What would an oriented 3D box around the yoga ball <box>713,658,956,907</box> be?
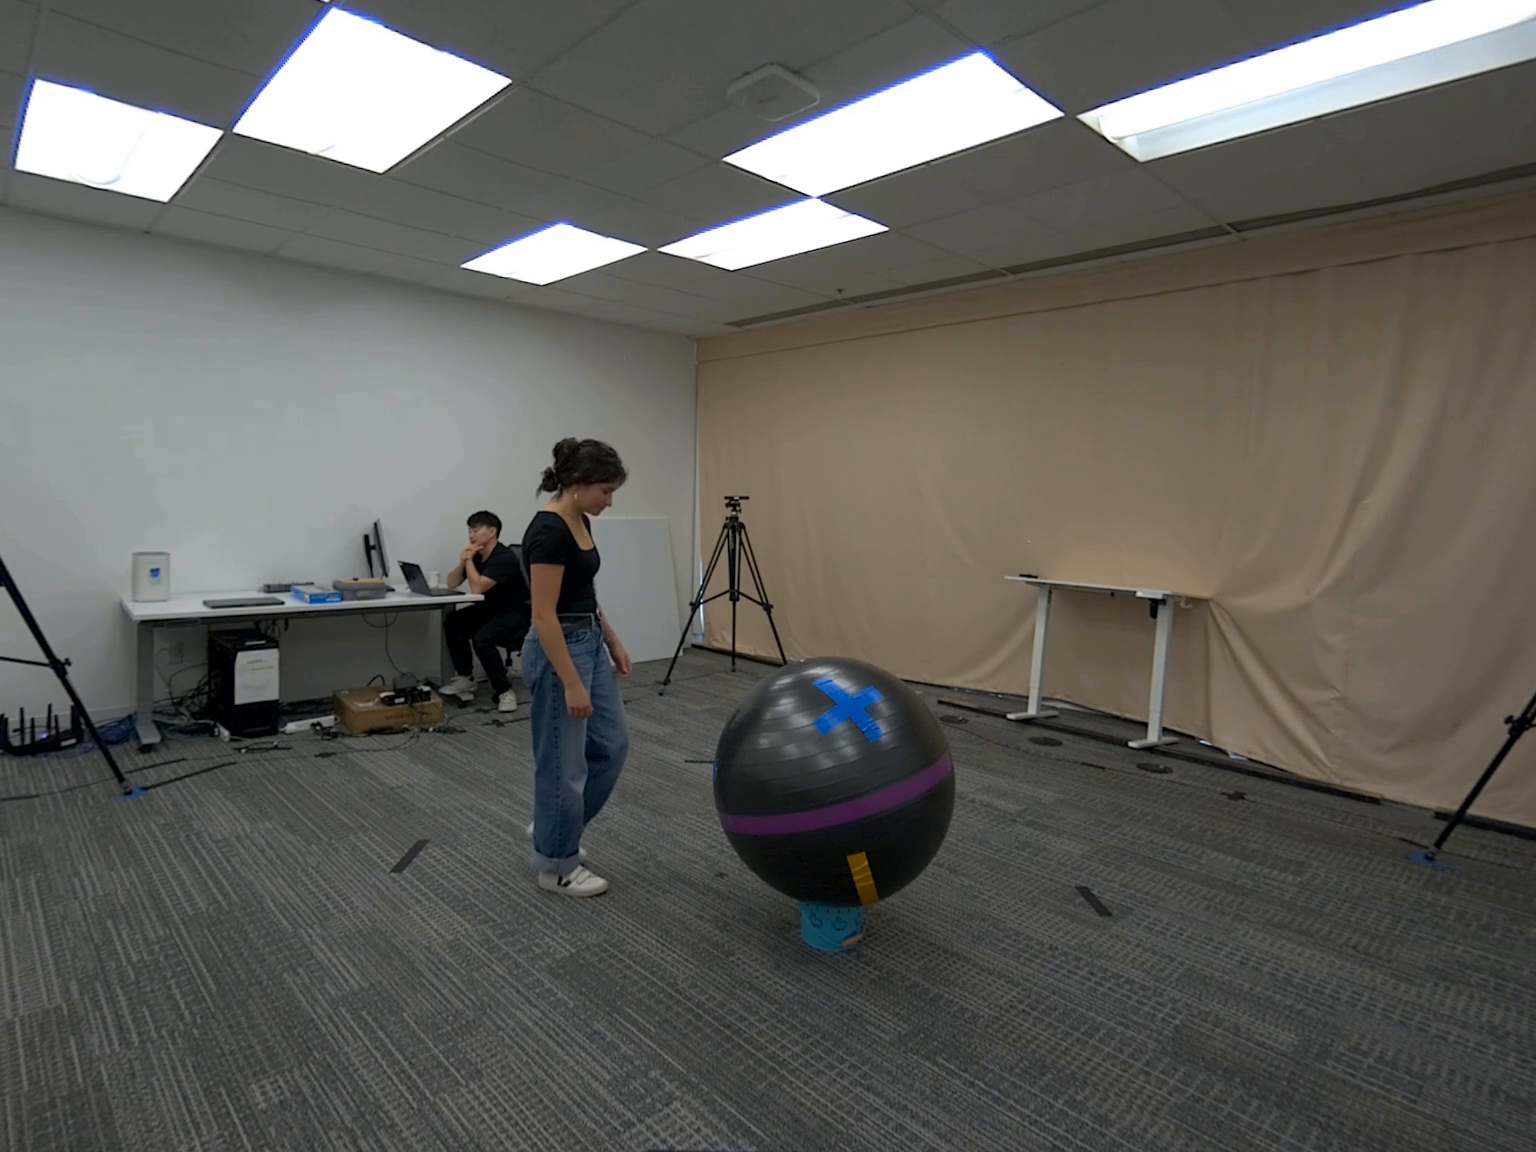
[{"bbox_3d":[0.199,0.642,2.659,0.757,0.756,0.761,1,4,-1],"label":"yoga ball"}]
